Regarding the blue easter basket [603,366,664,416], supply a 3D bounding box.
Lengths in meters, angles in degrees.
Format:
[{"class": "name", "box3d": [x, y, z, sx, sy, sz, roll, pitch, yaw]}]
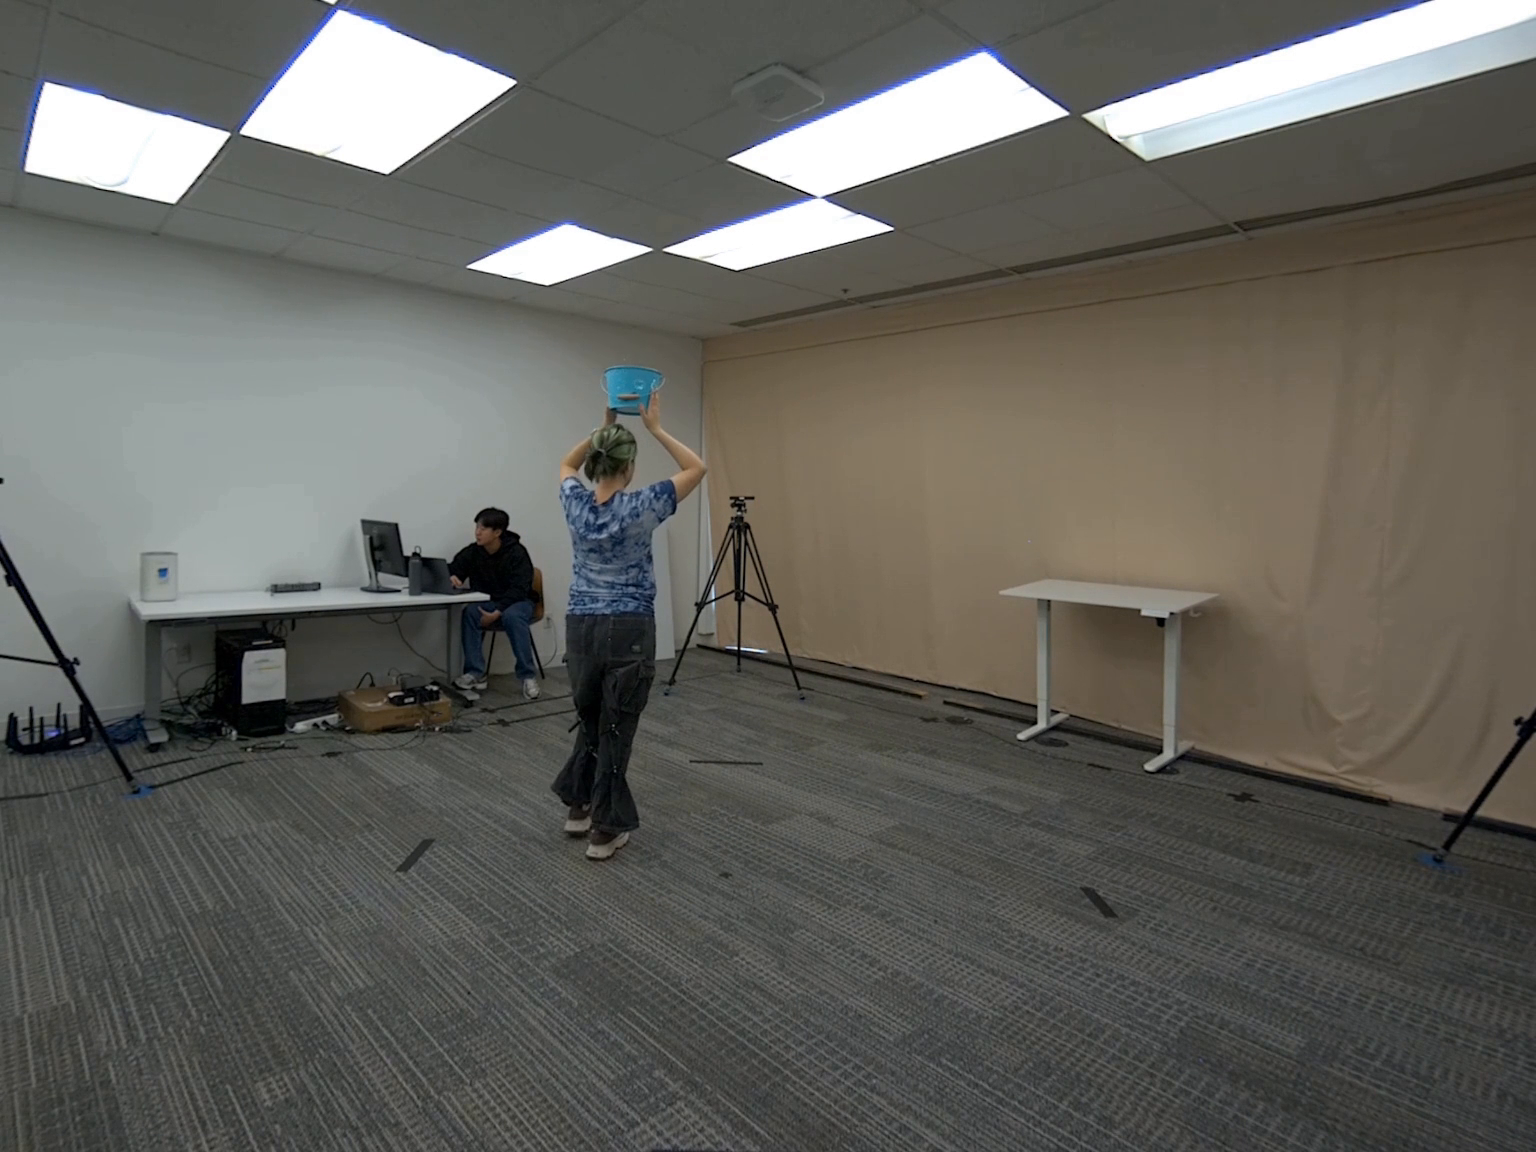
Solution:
[{"class": "blue easter basket", "box3d": [-0.560, -0.733, 3.344, 0.243, 0.156, 0.243, 3, -3, -1]}]
